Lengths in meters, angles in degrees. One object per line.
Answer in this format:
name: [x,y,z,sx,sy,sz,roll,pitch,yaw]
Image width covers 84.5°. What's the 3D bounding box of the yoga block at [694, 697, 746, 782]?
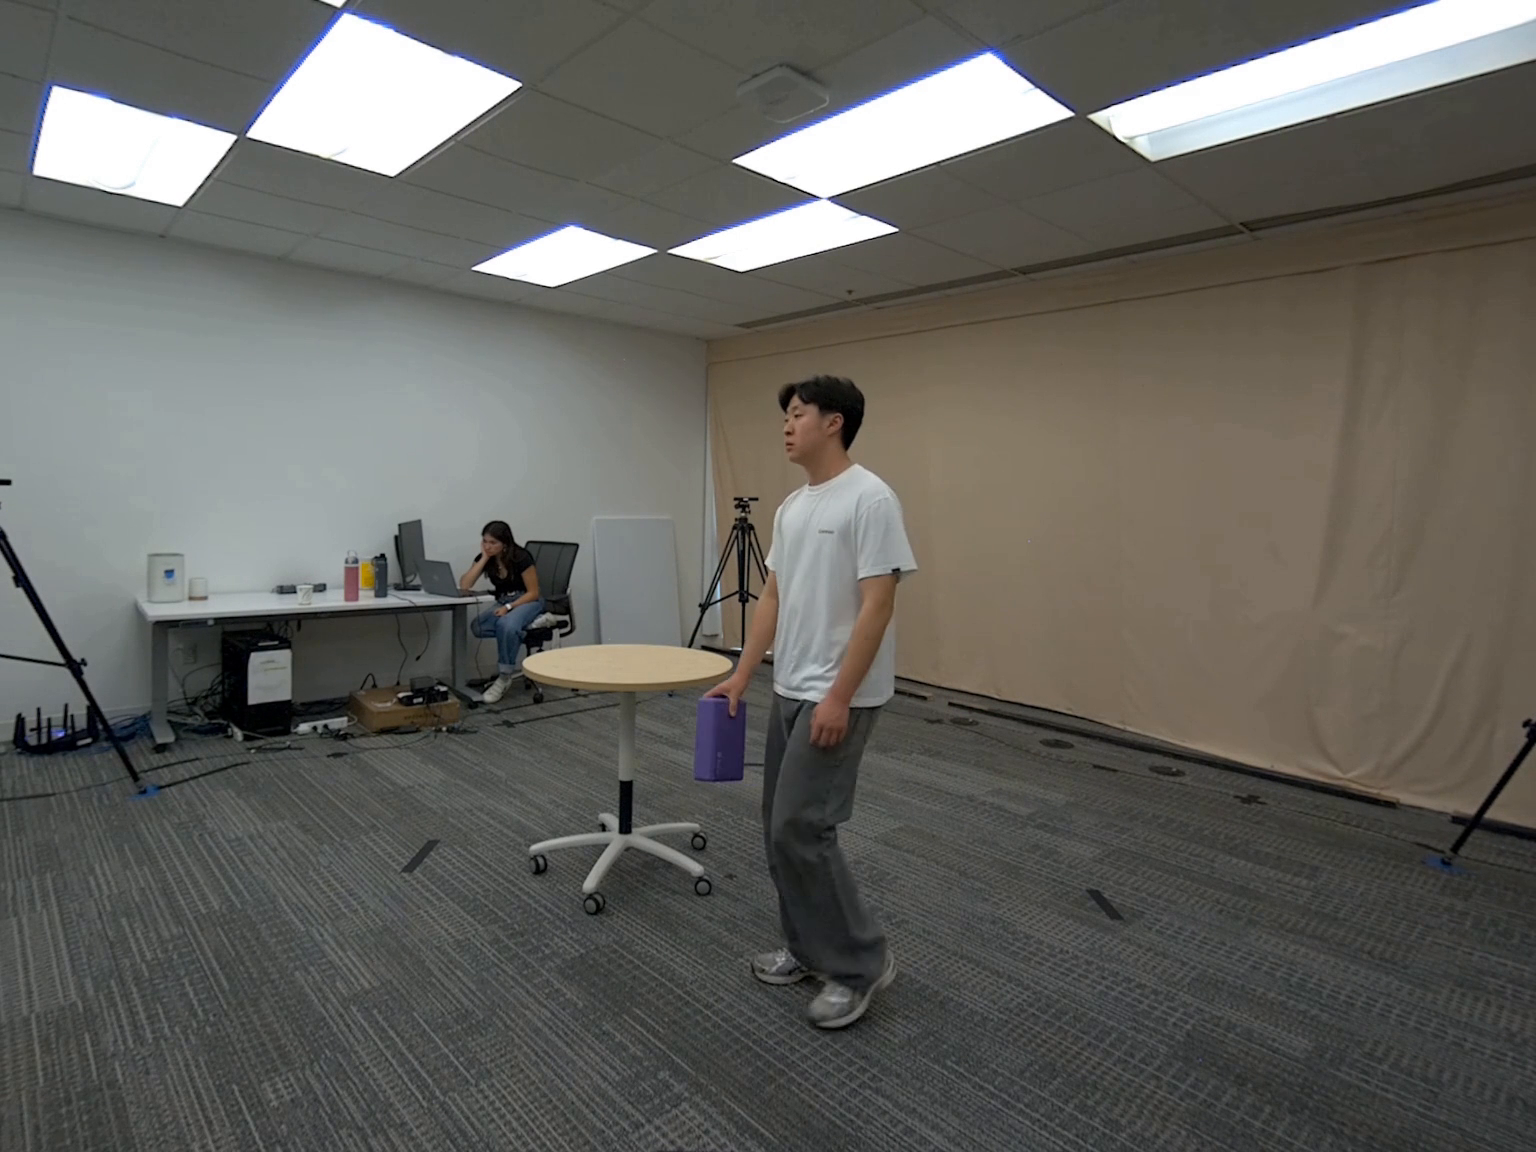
yoga block: [-0.121,0.481,2.421,0.078,0.231,0.145,-4,-10,35]
